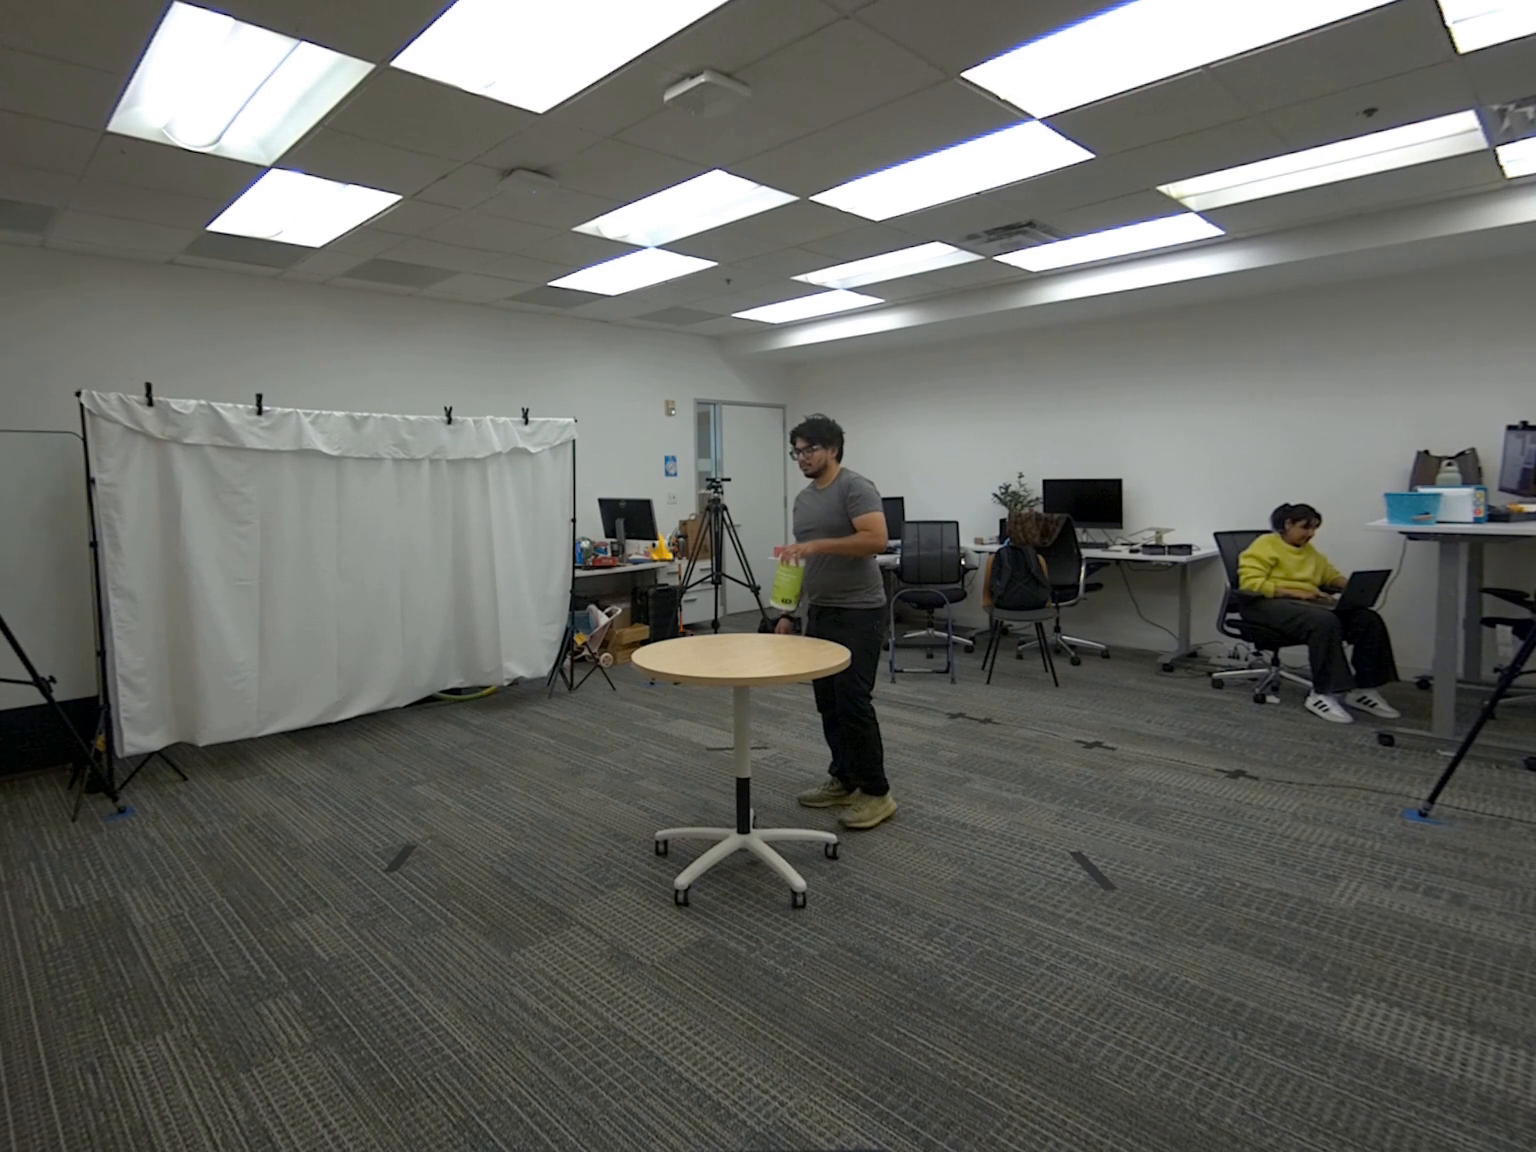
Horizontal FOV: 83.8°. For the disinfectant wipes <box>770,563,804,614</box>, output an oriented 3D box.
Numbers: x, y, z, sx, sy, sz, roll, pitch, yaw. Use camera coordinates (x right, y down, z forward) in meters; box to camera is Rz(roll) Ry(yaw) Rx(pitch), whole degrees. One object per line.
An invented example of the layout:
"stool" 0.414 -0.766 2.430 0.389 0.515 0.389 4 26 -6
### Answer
"disinfectant wipes" 0.076 0.024 3.398 0.117 0.216 0.119 10 10 -4
